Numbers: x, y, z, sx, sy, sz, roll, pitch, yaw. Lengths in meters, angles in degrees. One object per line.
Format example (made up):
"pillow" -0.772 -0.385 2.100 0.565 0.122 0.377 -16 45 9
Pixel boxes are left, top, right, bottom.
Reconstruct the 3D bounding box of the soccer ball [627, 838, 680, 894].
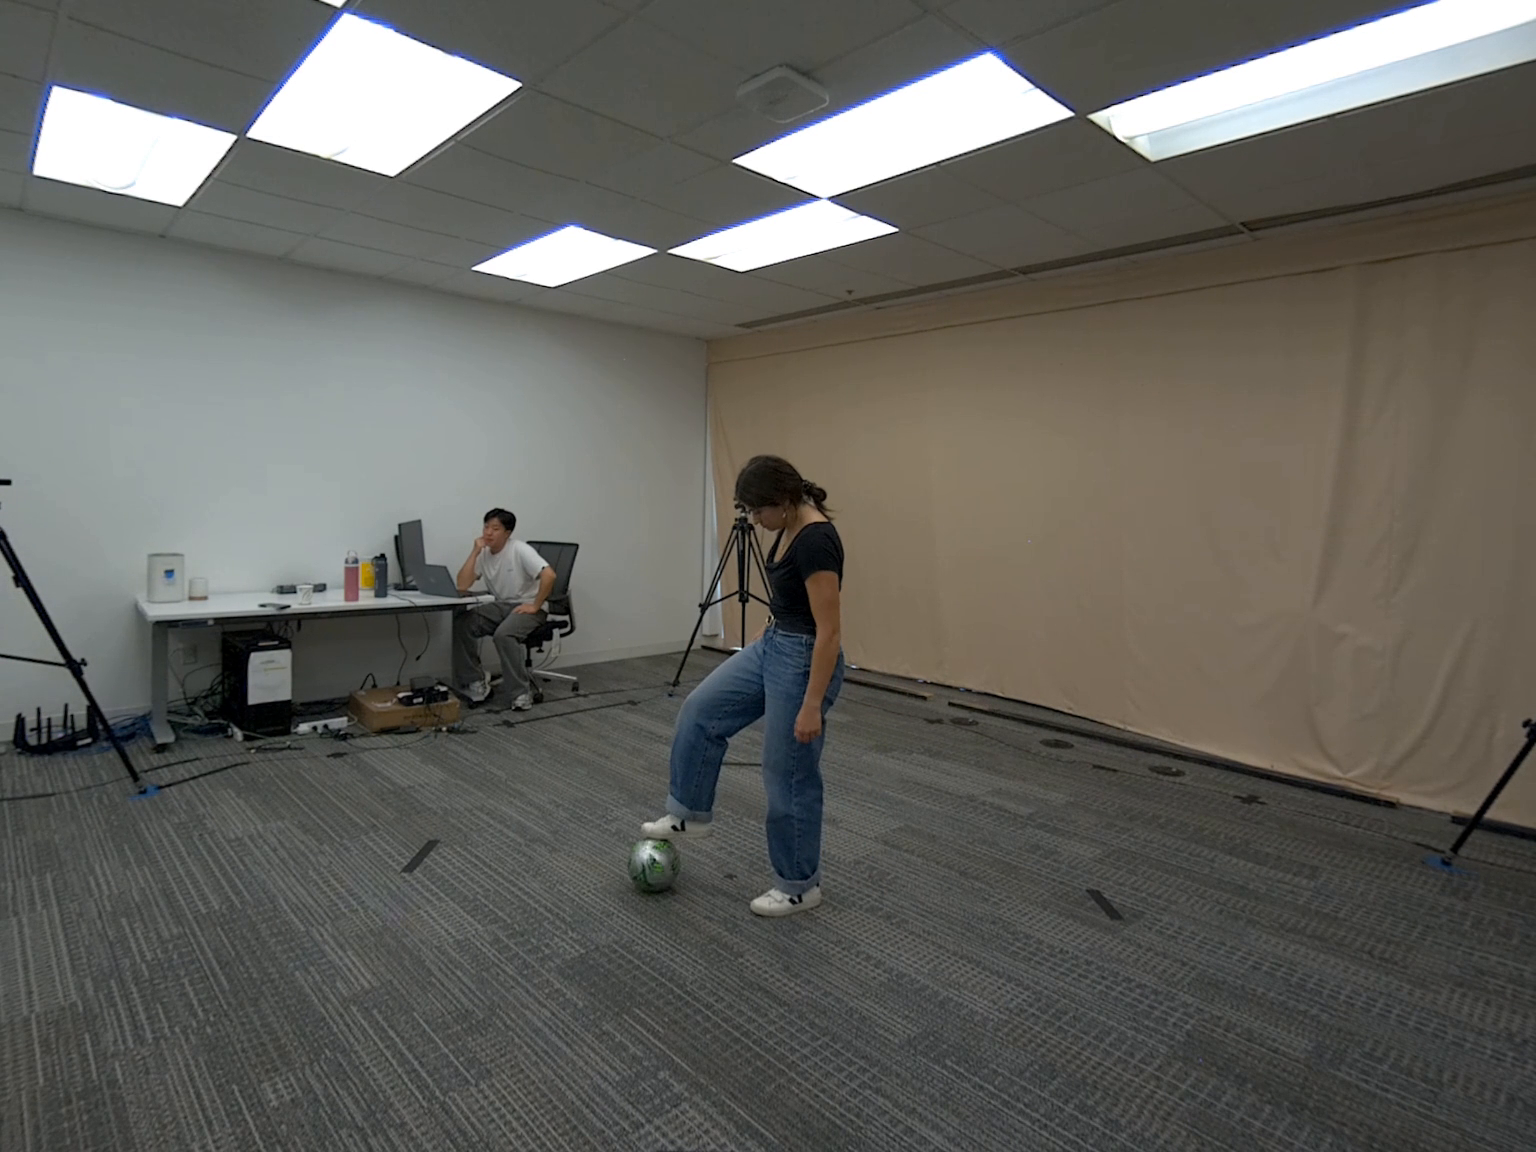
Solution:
"soccer ball" -0.395 1.020 2.977 0.187 0.187 0.188 1 4 -1
